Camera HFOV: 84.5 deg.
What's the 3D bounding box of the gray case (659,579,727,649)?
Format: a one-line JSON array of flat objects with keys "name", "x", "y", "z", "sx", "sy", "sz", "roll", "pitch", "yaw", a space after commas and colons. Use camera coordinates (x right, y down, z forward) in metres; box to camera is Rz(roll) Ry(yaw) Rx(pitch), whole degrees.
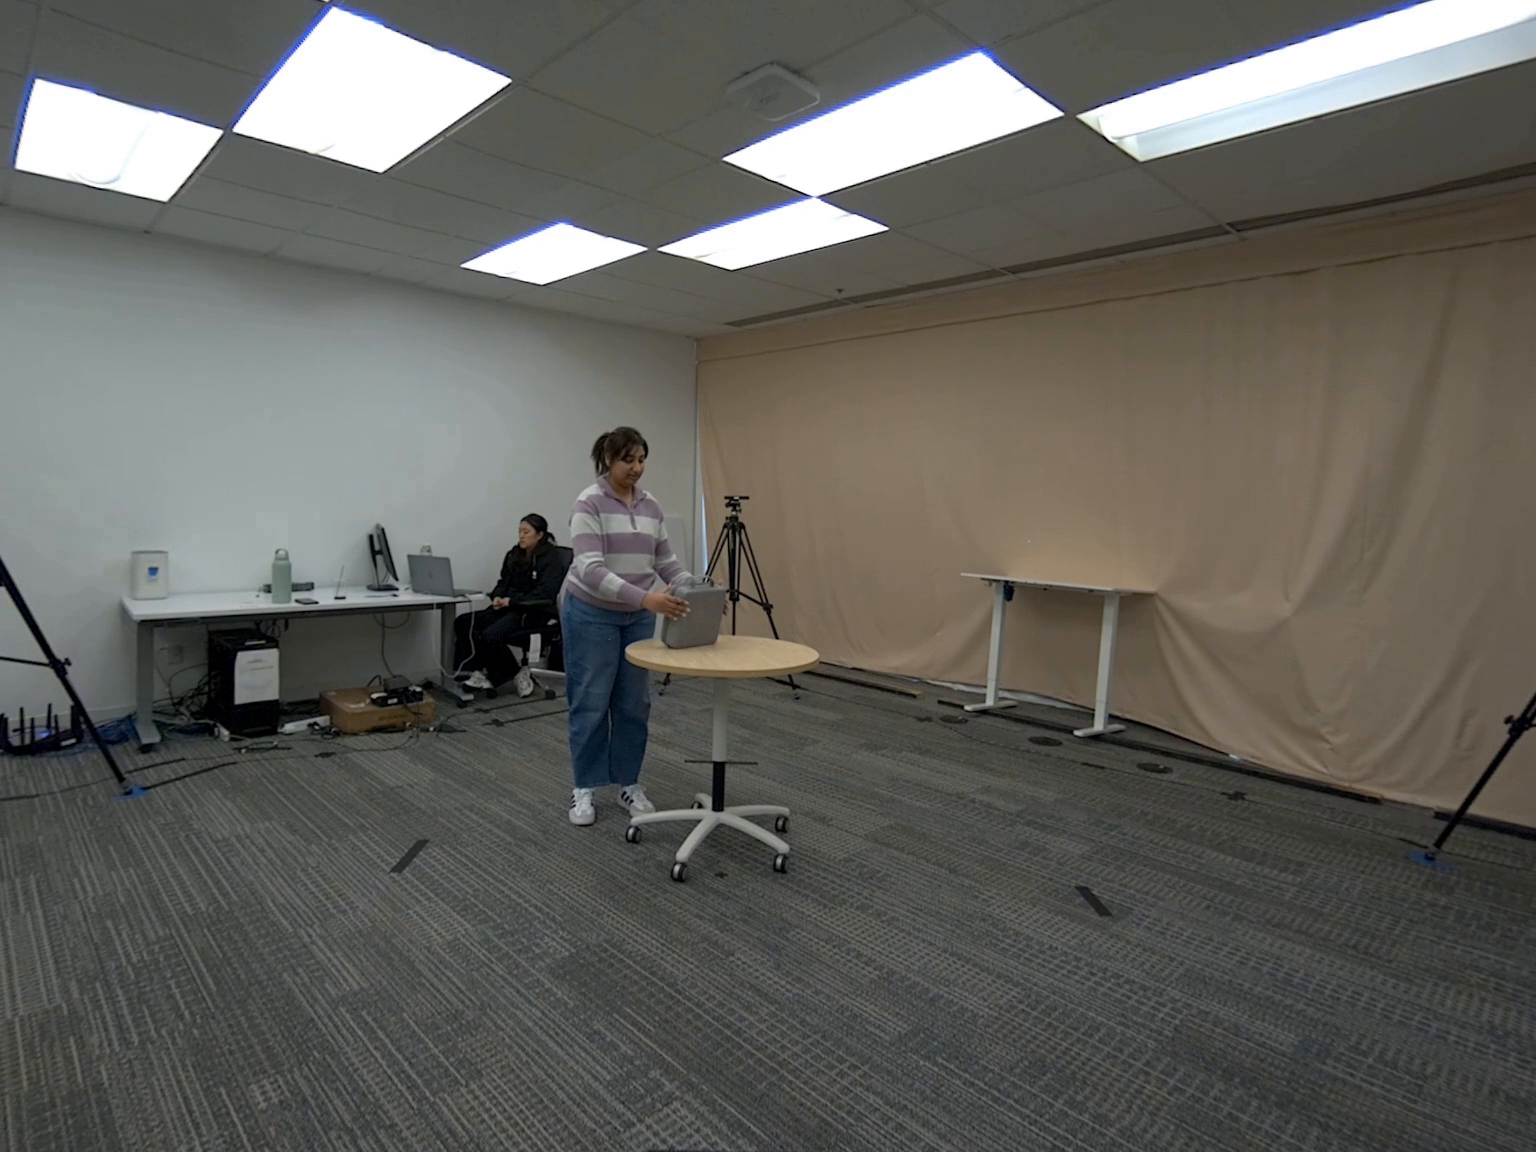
[{"name": "gray case", "x": -0.308, "y": 0.148, "z": 3.418, "sx": 0.107, "sy": 0.258, "sz": 0.251, "roll": 19, "pitch": 17, "yaw": 39}]
